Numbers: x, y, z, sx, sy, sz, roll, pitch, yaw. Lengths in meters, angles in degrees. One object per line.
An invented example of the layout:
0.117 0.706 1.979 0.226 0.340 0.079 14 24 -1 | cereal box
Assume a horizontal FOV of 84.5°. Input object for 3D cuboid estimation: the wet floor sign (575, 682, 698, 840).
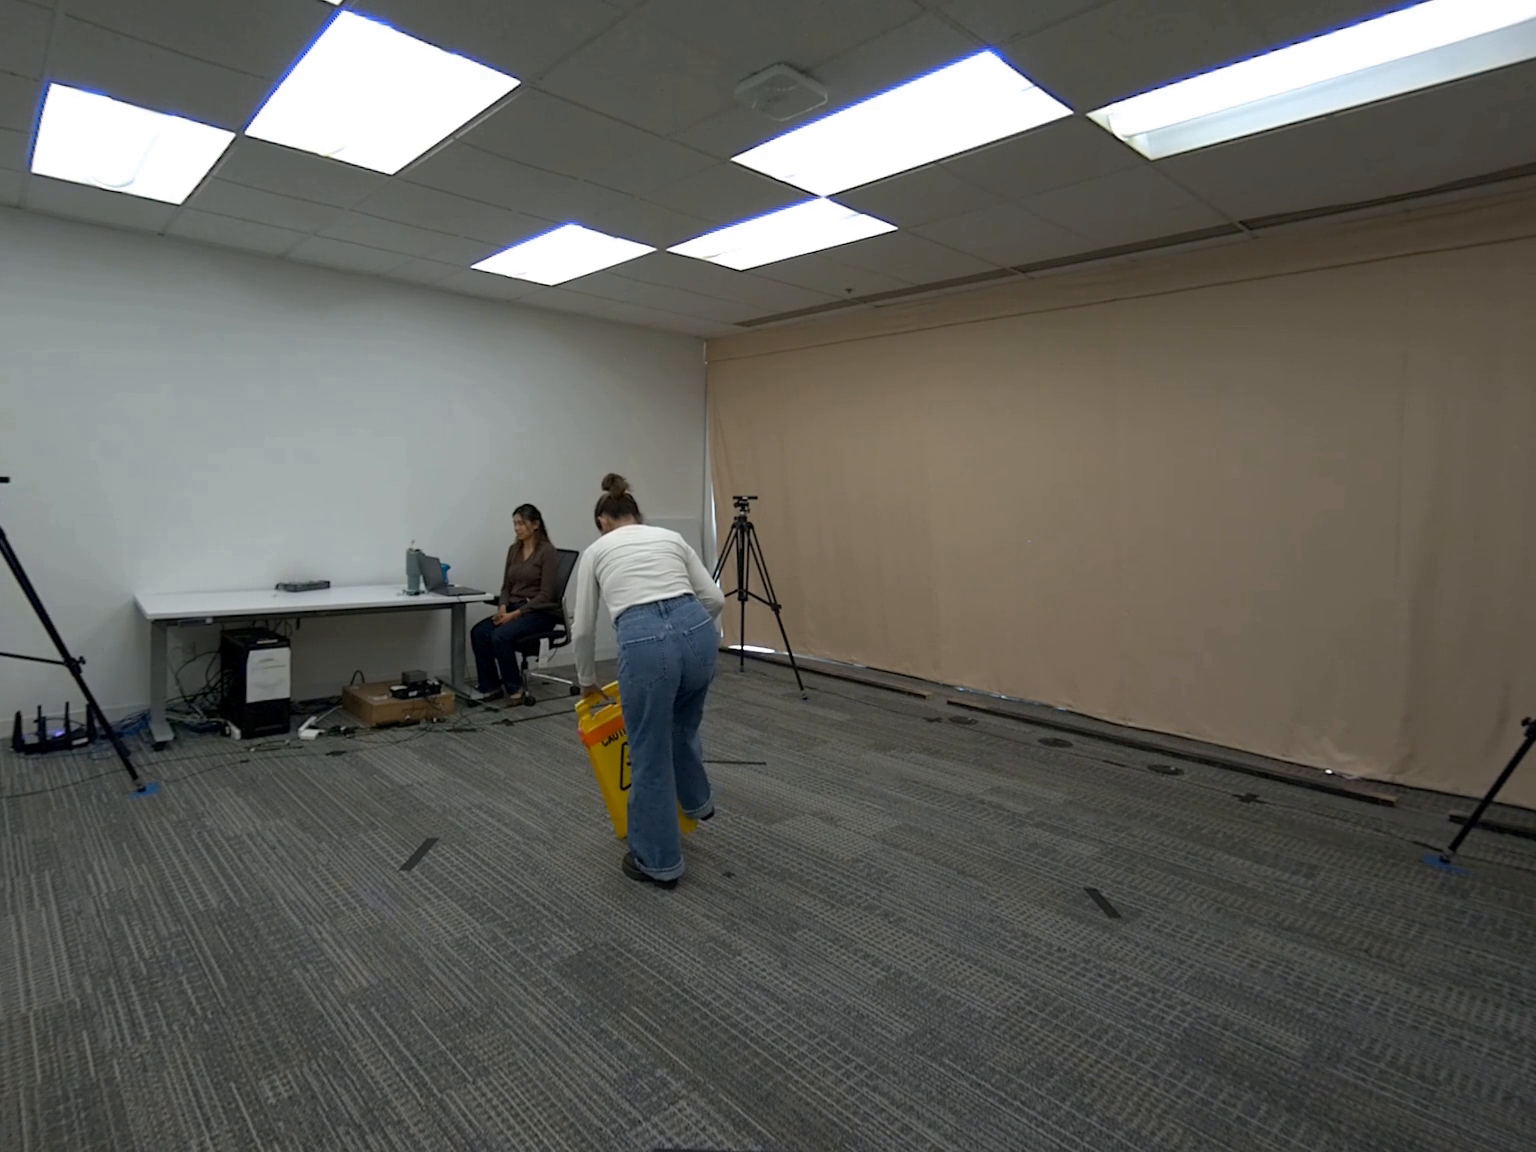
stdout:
-0.549 0.726 3.282 0.280 0.635 0.297 -28 20 -23 | wet floor sign
